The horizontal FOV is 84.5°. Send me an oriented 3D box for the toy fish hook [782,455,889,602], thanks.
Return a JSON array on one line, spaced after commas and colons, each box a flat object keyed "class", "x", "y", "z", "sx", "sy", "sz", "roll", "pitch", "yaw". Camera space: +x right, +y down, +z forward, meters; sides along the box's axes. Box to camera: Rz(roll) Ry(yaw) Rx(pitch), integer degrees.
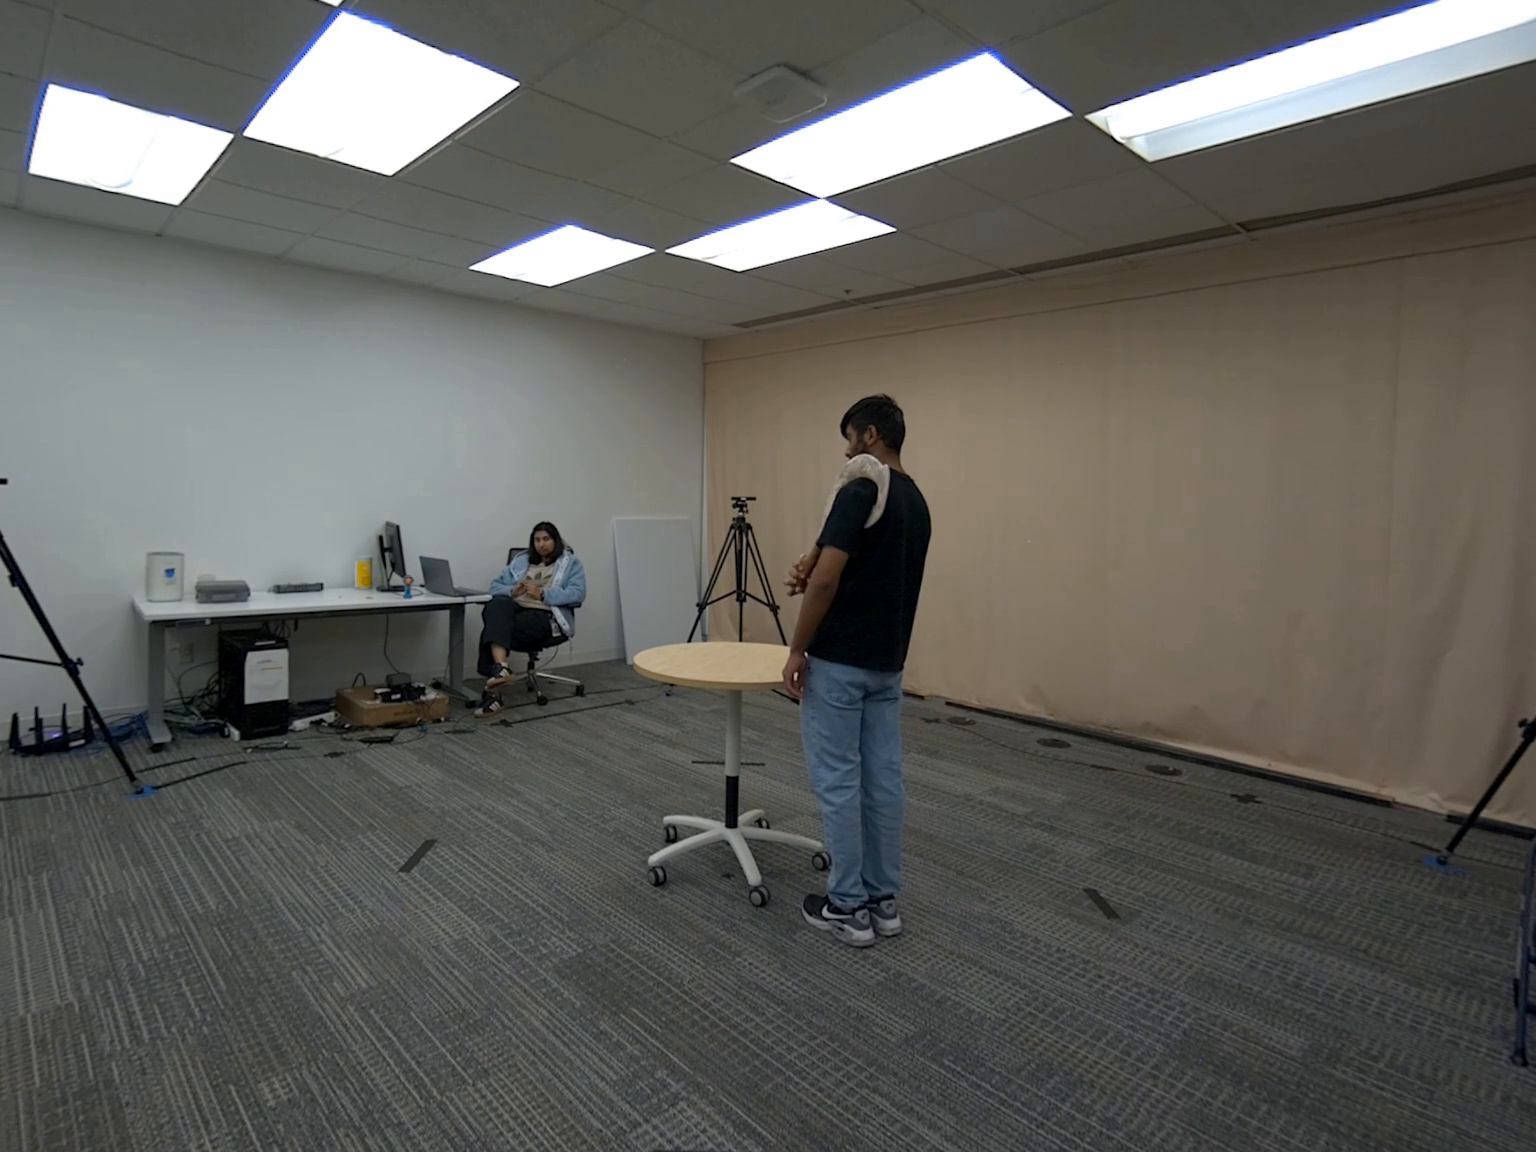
[{"class": "toy fish hook", "x": 0.232, "y": -0.134, "z": 2.627, "sx": 0.047, "sy": 0.504, "sz": 0.232, "roll": 13, "pitch": 20, "yaw": -40}]
